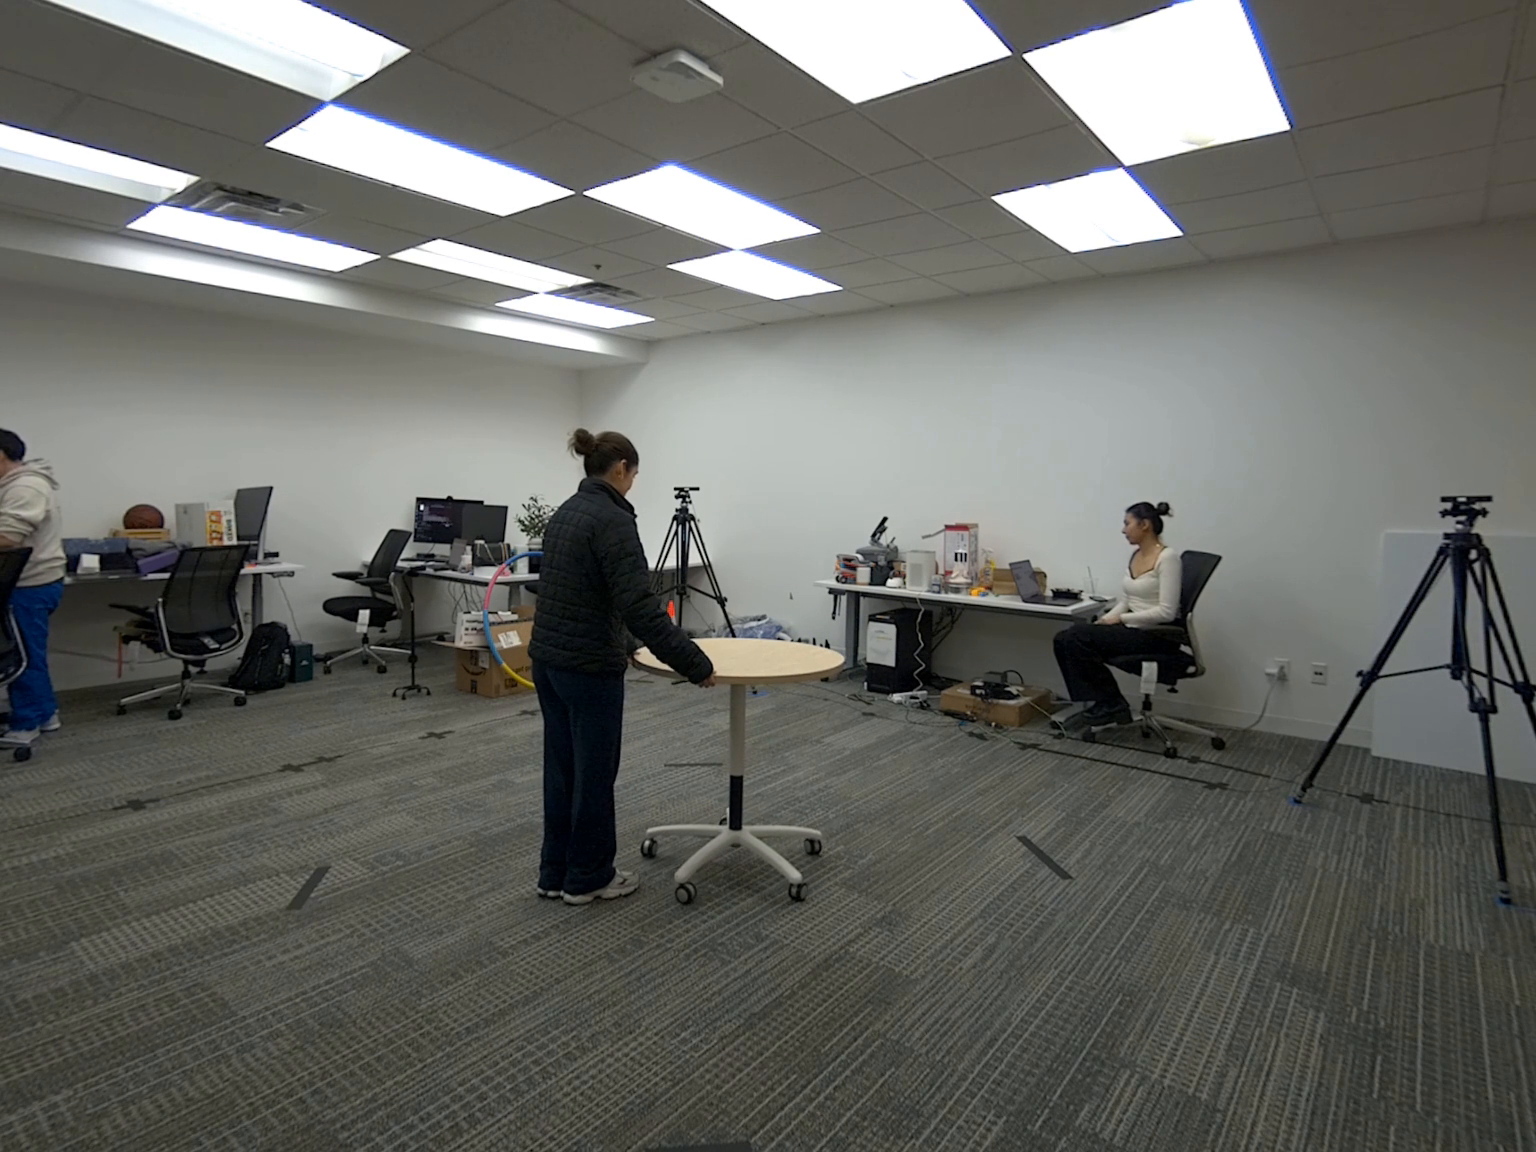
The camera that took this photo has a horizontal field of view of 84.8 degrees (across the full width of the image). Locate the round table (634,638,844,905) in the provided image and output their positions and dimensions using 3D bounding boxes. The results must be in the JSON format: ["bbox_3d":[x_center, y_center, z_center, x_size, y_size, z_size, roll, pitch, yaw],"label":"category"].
[{"bbox_3d":[-0.099,0.675,3.139,0.784,0.784,0.789,1,4,-2],"label":"round table"}]
